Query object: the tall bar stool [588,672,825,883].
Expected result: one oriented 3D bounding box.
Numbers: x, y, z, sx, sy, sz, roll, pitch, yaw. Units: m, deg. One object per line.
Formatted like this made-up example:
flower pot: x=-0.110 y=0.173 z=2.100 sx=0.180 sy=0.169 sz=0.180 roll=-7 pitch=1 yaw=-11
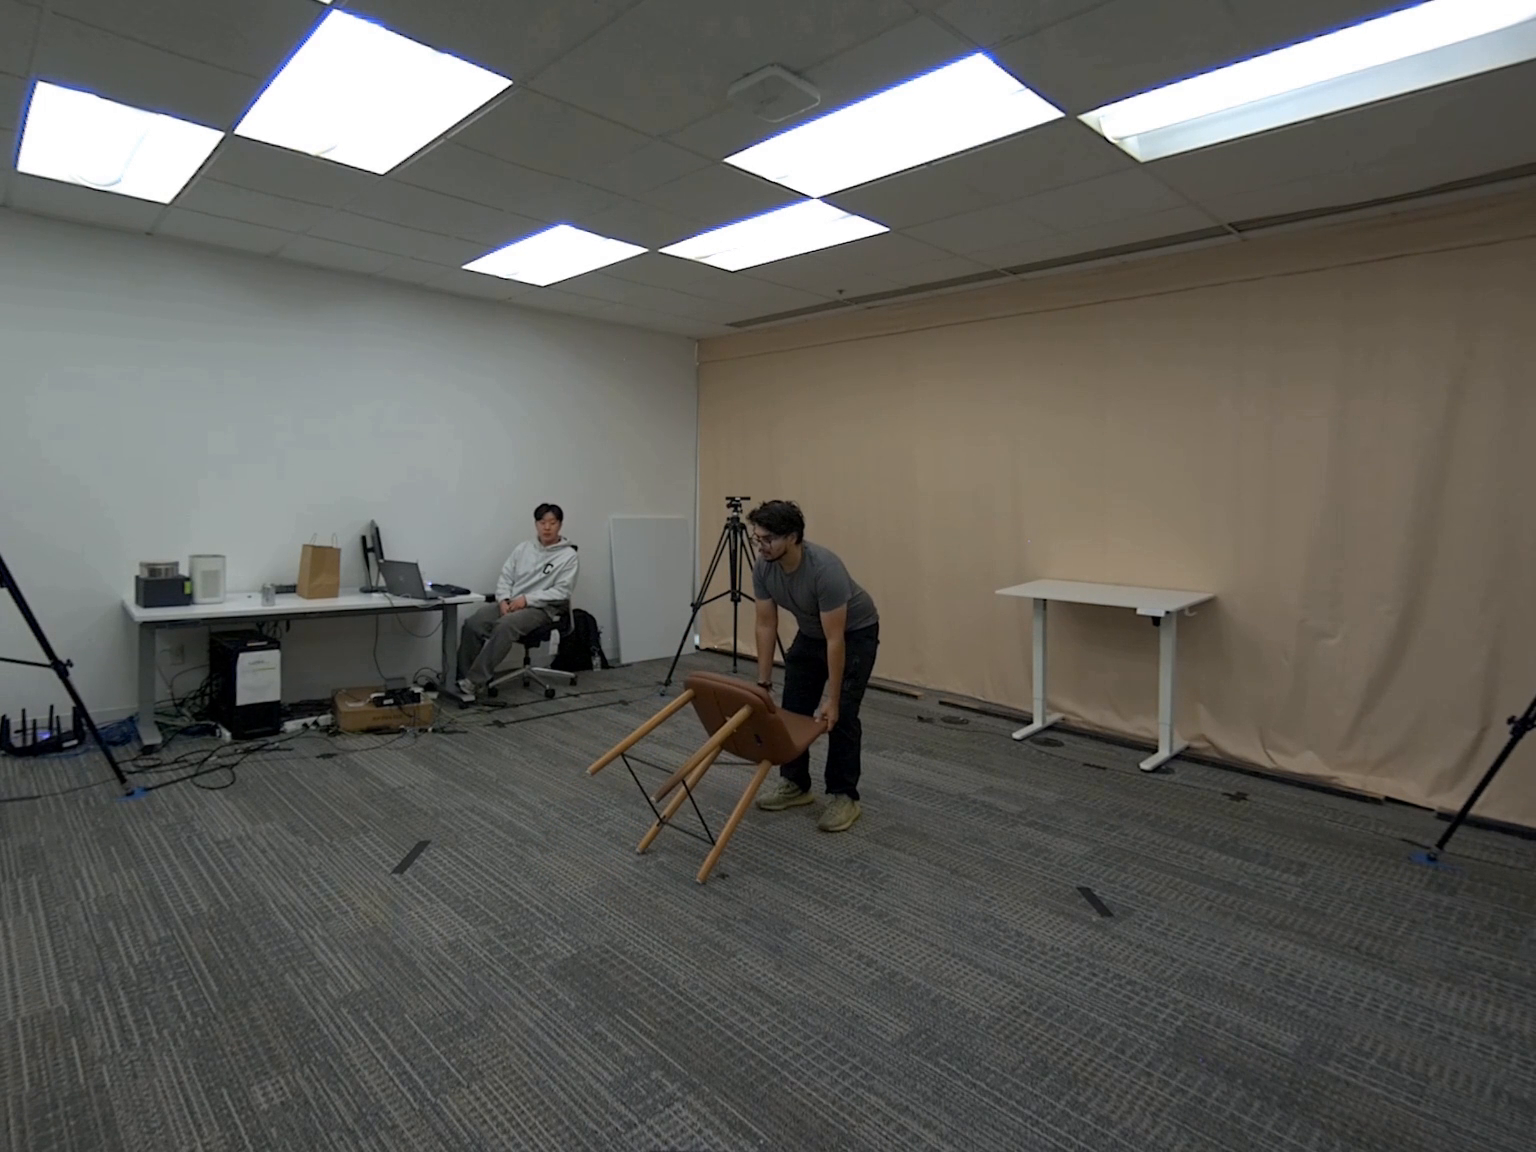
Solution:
tall bar stool: x=-0.201 y=0.670 z=3.312 sx=0.468 sy=0.457 sz=0.887 roll=5 pitch=36 yaw=43
